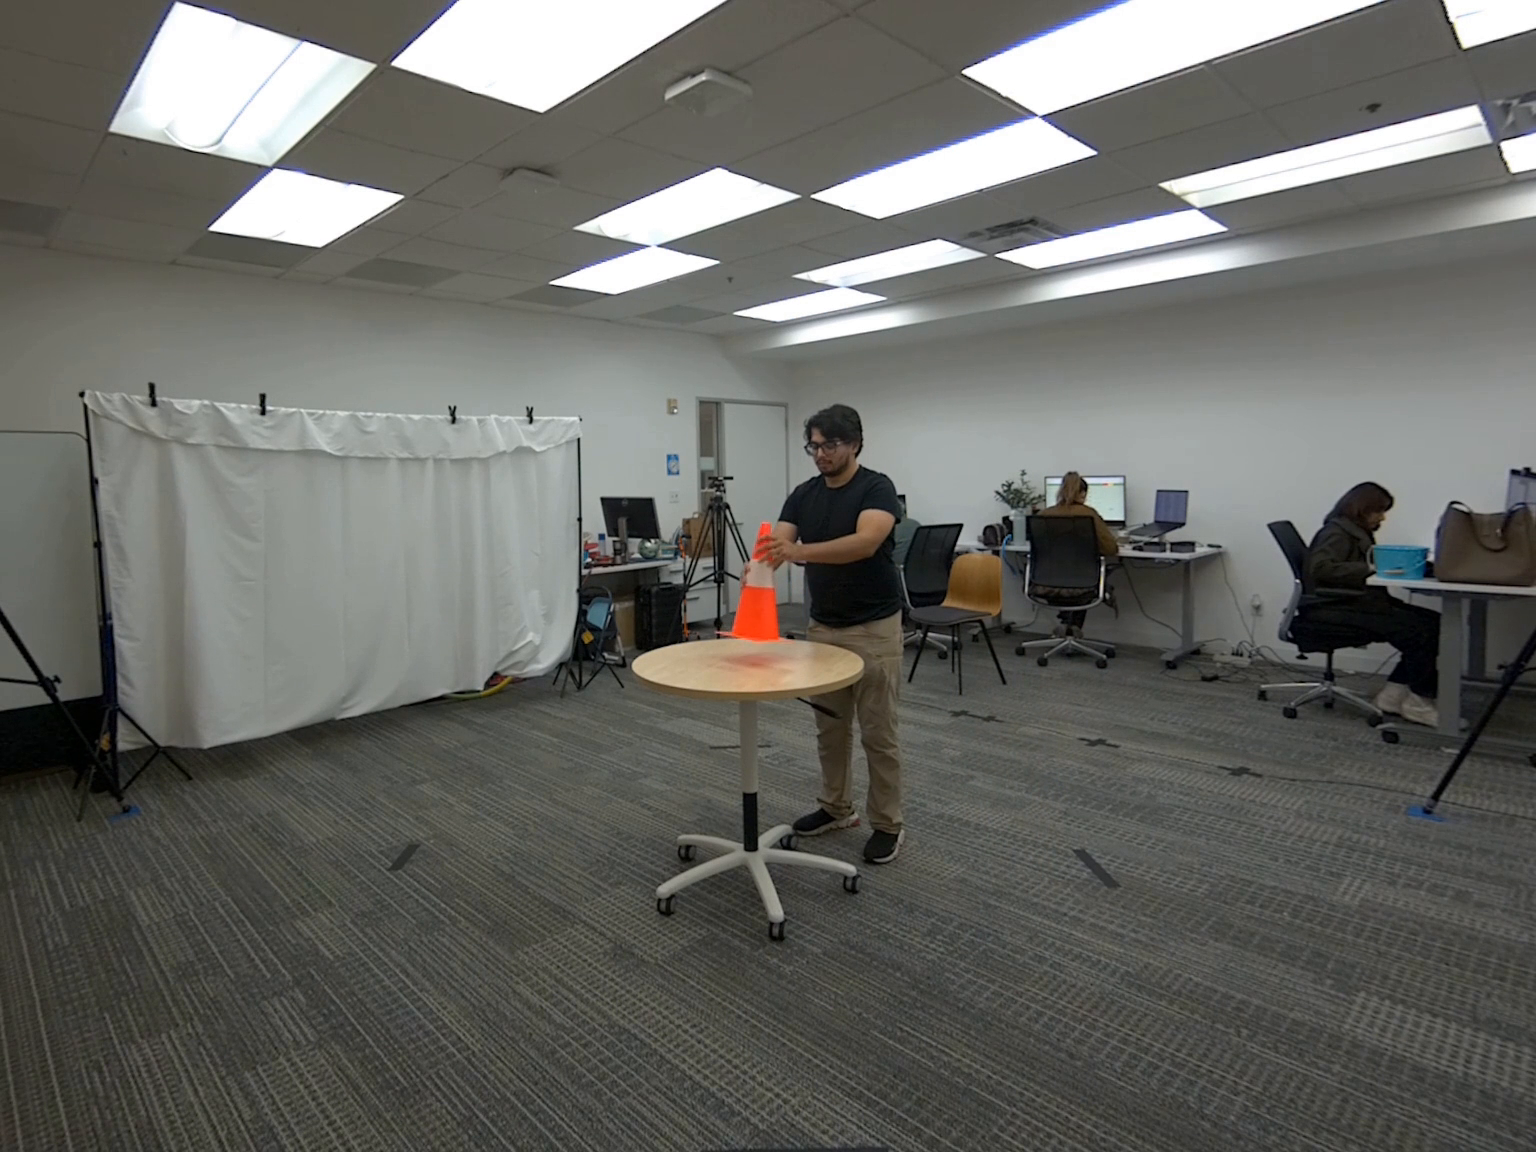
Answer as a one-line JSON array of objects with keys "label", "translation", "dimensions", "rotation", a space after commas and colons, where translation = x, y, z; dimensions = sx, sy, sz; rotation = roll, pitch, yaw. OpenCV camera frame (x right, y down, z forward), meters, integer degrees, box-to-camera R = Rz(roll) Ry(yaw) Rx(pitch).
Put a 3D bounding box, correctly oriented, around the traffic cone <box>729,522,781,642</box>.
[{"label": "traffic cone", "translation": [-0.027, 0.017, 2.840], "dimensions": [0.209, 0.384, 0.198], "rotation": [1, -3, 42]}]
